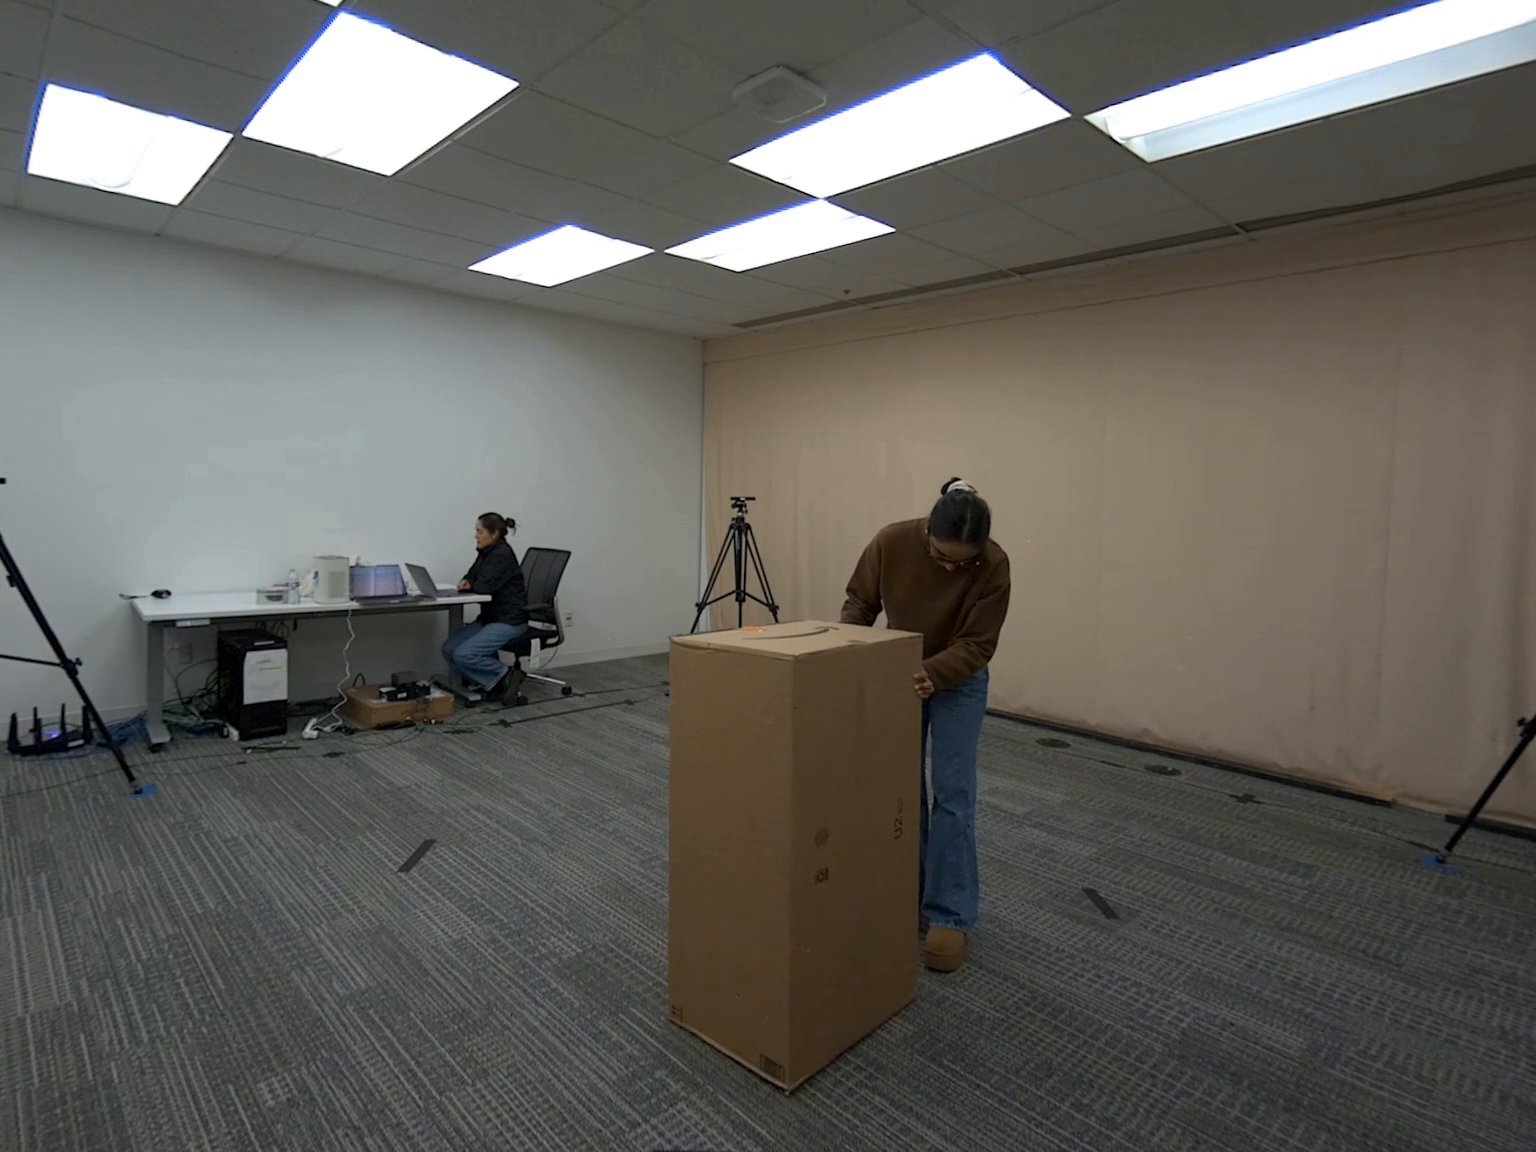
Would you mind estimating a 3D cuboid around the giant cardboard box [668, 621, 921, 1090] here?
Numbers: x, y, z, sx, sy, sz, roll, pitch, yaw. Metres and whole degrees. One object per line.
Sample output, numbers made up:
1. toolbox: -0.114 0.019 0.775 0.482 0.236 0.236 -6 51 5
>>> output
1. giant cardboard box: 0.074 0.676 2.284 0.437 1.024 0.564 3 3 43
